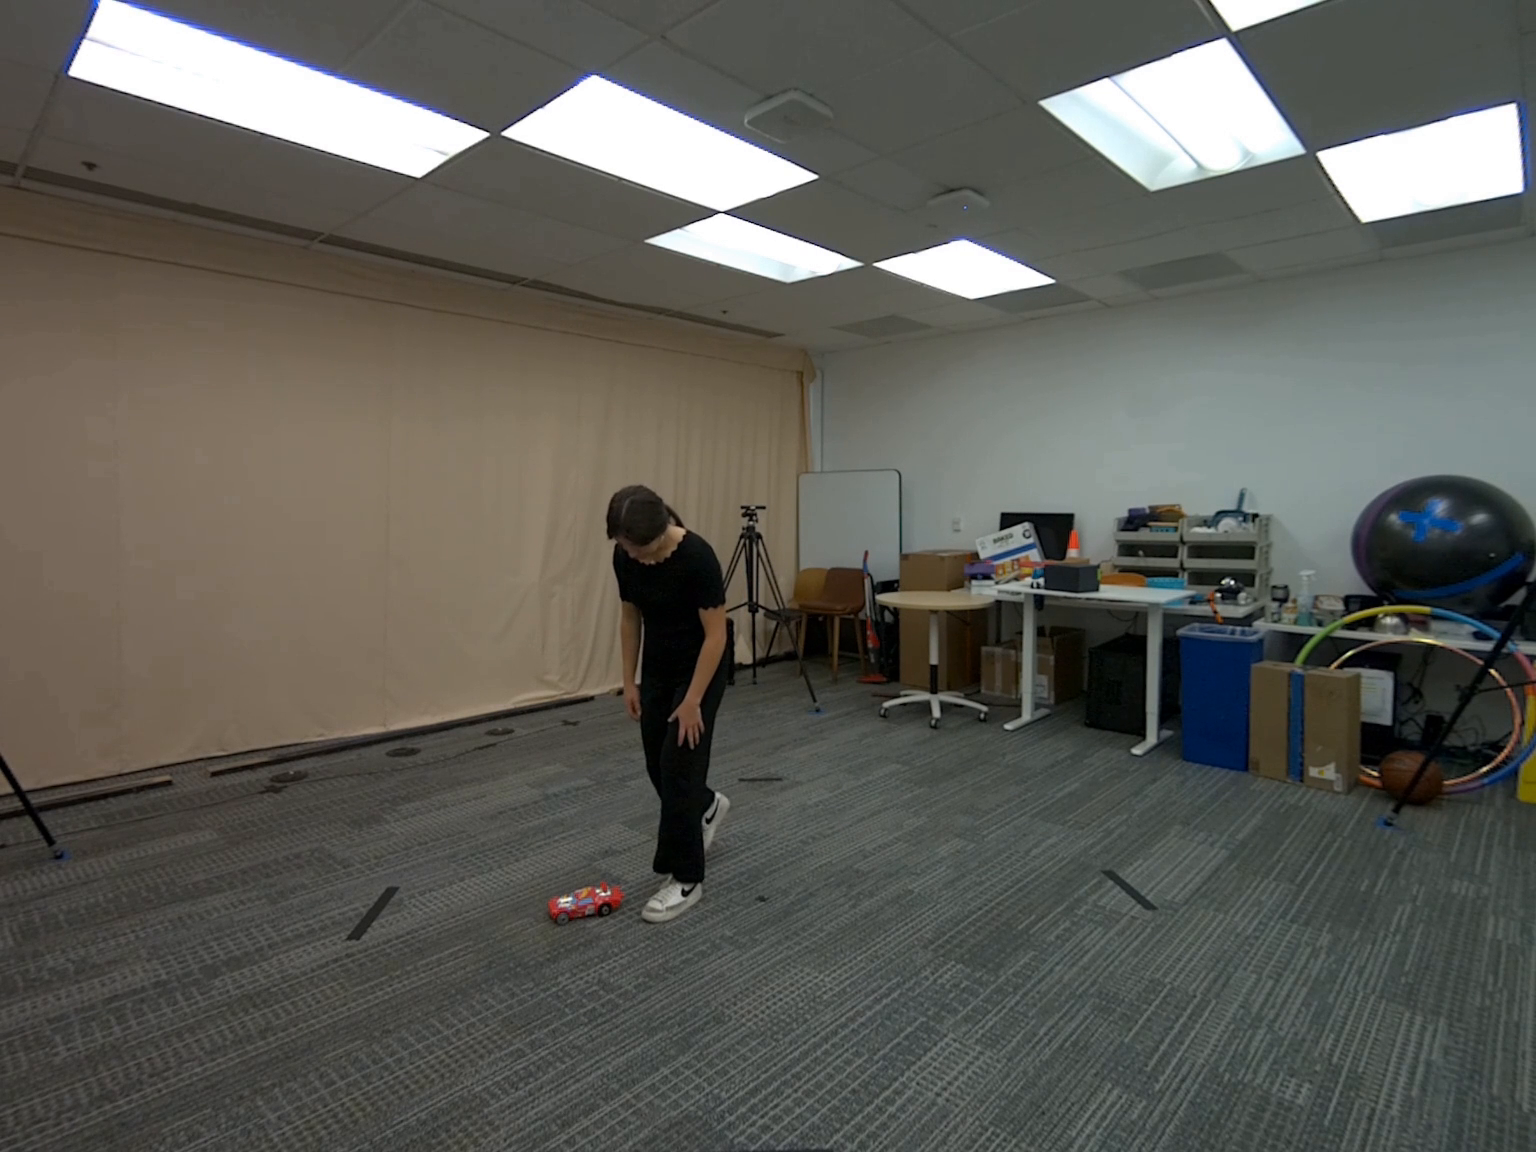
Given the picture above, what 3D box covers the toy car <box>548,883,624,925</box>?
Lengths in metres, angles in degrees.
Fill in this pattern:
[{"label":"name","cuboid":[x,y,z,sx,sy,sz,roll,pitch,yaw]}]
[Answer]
[{"label":"toy car","cuboid":[-0.623,1.127,2.893,0.250,0.083,0.133,-13,8,-21]}]
